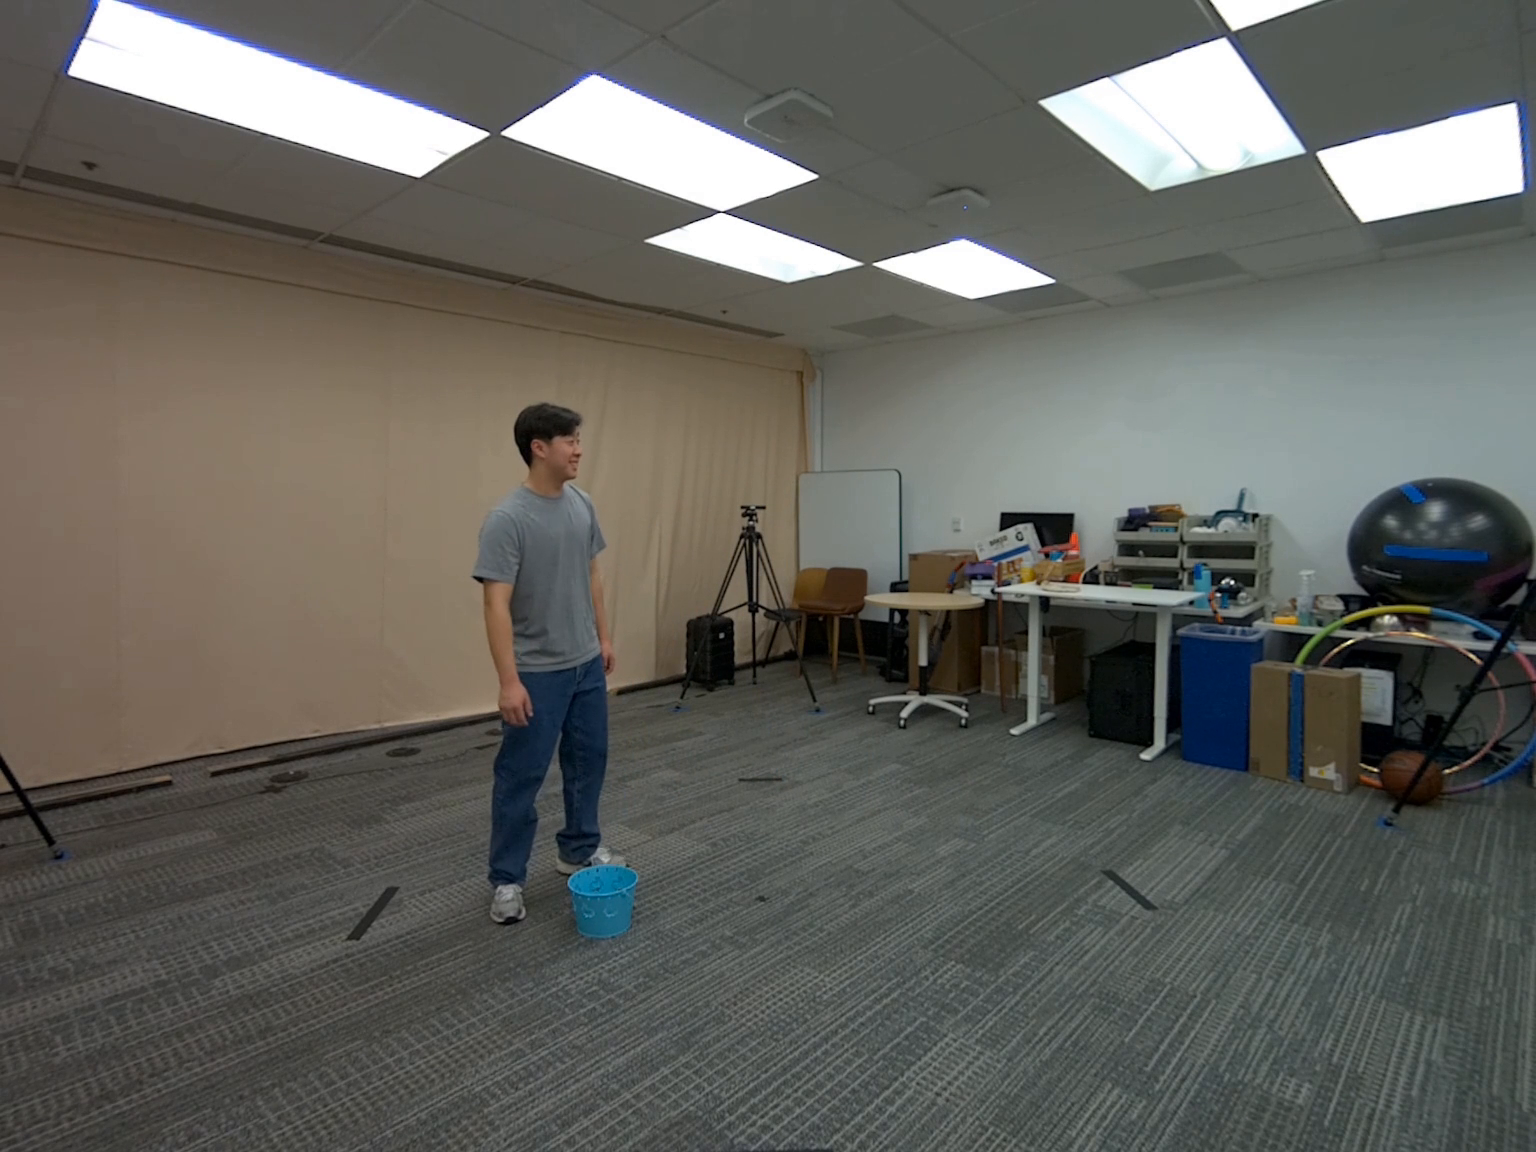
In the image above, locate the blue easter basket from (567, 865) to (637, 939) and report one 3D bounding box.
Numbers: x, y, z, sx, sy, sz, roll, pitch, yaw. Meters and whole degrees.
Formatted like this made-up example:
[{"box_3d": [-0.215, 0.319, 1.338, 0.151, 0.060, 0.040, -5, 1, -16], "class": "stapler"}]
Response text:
[{"box_3d": [-0.541, 1.086, 2.802, 0.243, 0.155, 0.244, -1, 4, -2], "class": "blue easter basket"}]
